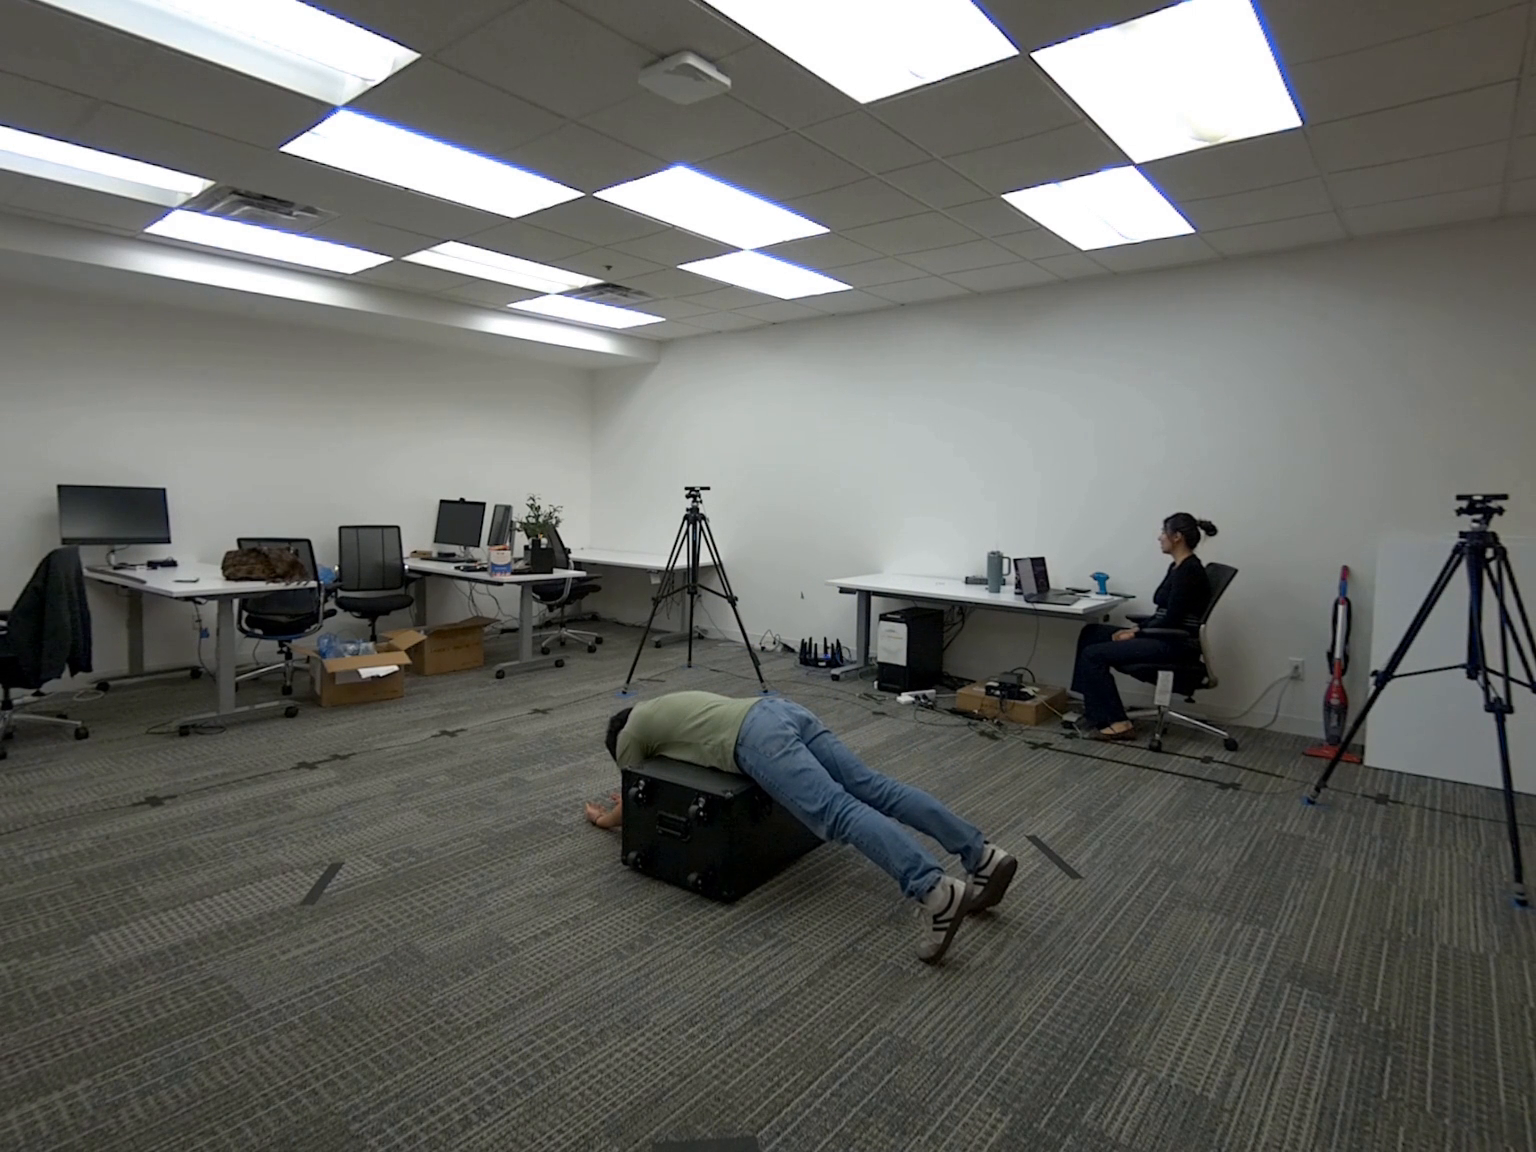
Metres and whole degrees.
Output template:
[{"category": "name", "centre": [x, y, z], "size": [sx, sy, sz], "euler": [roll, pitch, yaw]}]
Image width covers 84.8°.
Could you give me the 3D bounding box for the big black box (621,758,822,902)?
[{"category": "big black box", "centre": [-0.151, 0.874, 3.222], "size": [0.537, 0.395, 0.837], "euler": [3, 4, 33]}]
